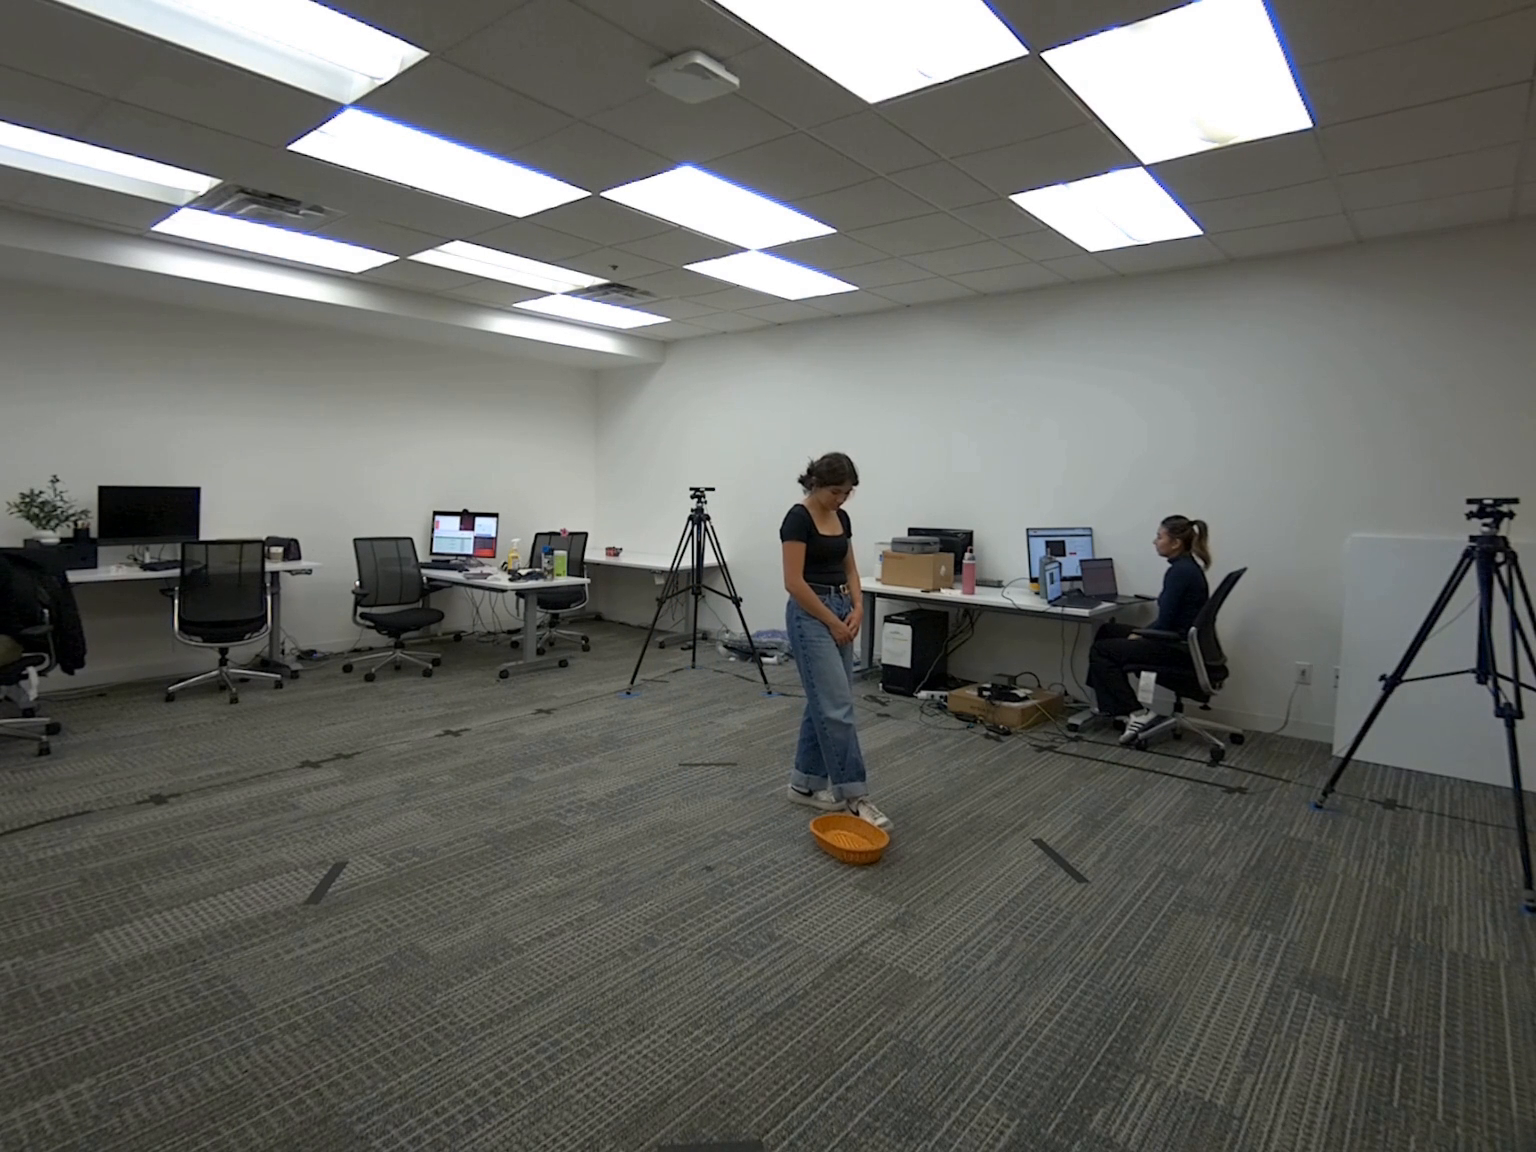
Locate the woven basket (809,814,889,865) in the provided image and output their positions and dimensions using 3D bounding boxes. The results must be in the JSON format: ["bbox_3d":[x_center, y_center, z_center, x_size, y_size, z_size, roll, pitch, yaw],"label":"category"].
[{"bbox_3d":[0.303,1.015,3.302,0.246,0.073,0.361,-4,7,-29],"label":"woven basket"}]
